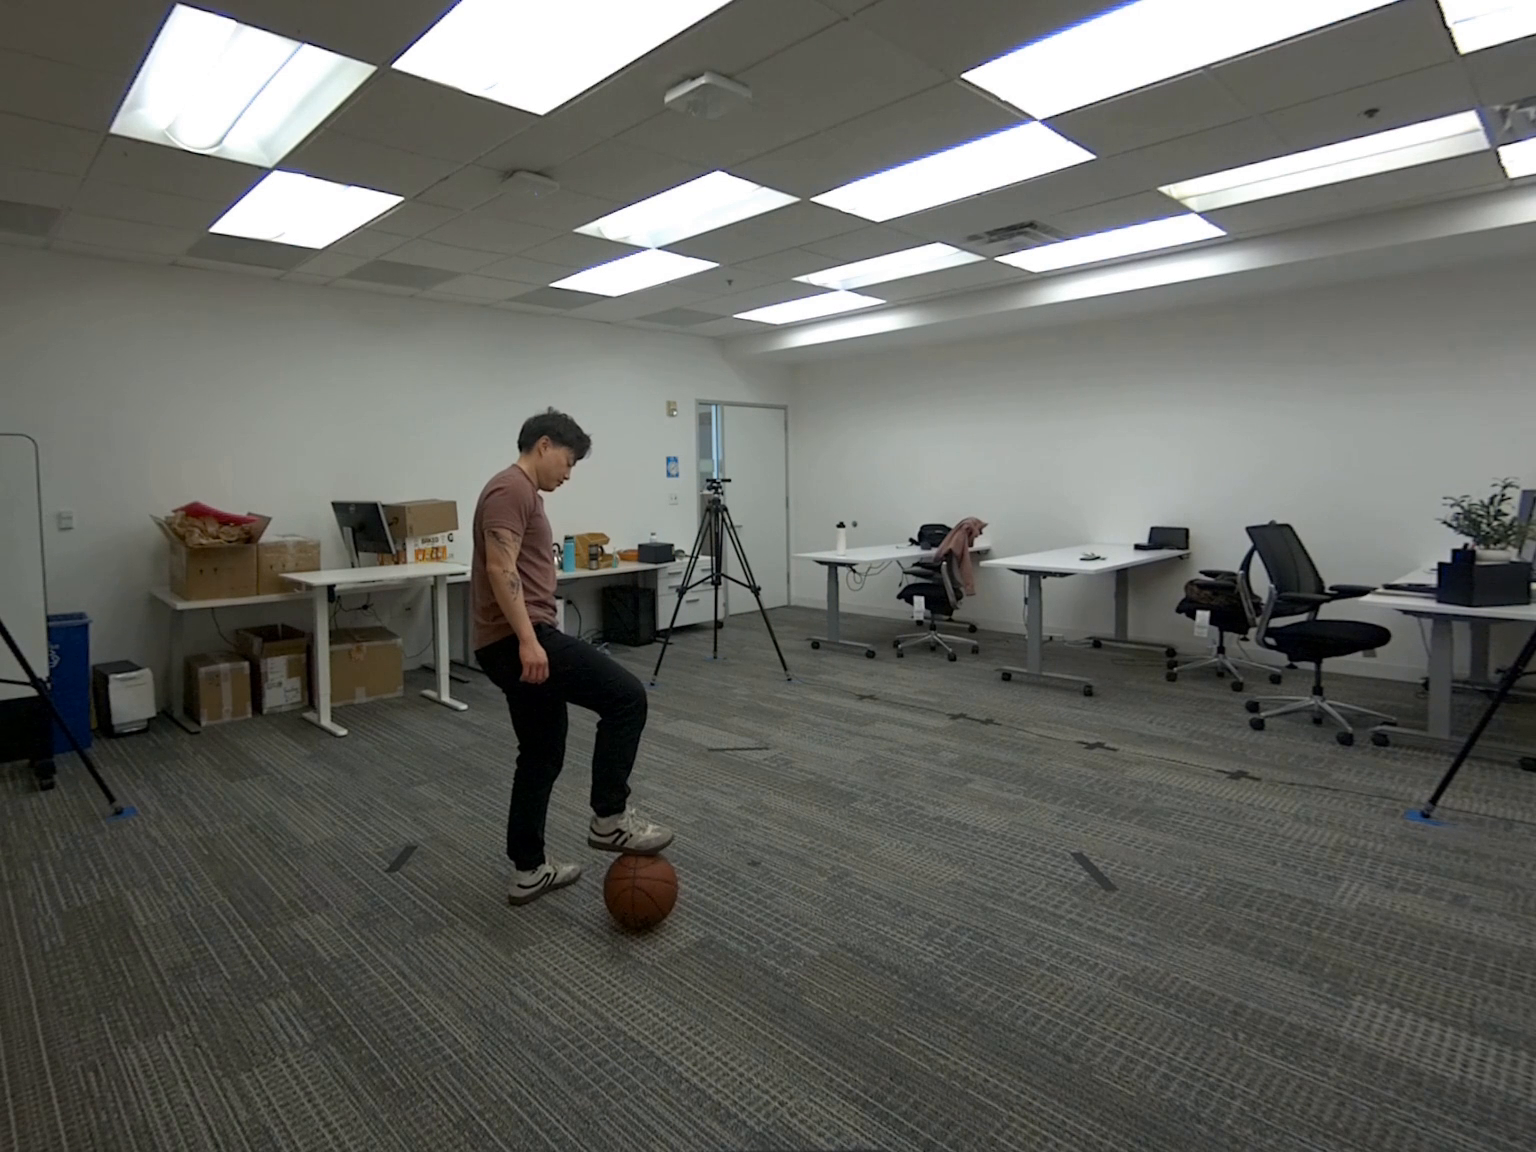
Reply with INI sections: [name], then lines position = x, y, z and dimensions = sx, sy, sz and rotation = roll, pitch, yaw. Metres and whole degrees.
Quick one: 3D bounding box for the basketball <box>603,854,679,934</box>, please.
[basketball]
position = -0.397, 0.982, 2.688
dimensions = 0.236, 0.235, 0.237
rotation = -1, 5, -2
